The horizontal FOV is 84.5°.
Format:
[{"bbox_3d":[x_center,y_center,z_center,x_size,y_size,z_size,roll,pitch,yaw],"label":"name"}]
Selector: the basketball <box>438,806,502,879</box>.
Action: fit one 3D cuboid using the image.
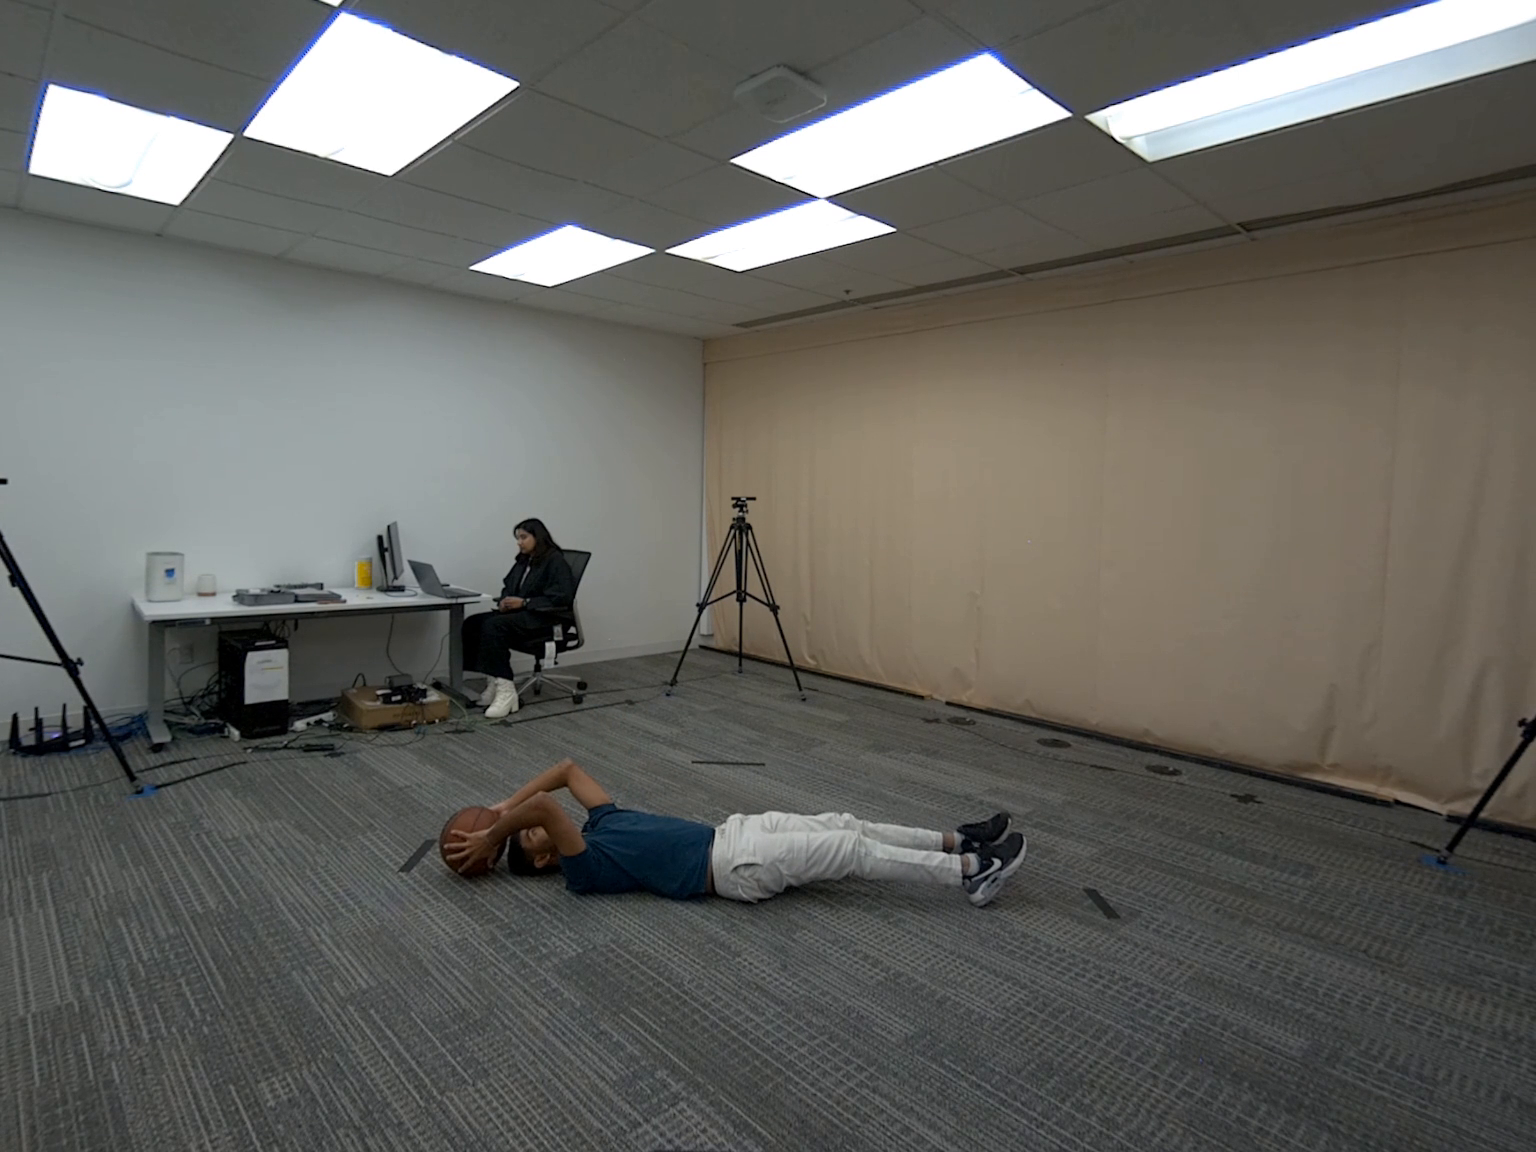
[{"bbox_3d":[-1.092,0.969,3.075,0.236,0.235,0.237,1,4,-1],"label":"basketball"}]
